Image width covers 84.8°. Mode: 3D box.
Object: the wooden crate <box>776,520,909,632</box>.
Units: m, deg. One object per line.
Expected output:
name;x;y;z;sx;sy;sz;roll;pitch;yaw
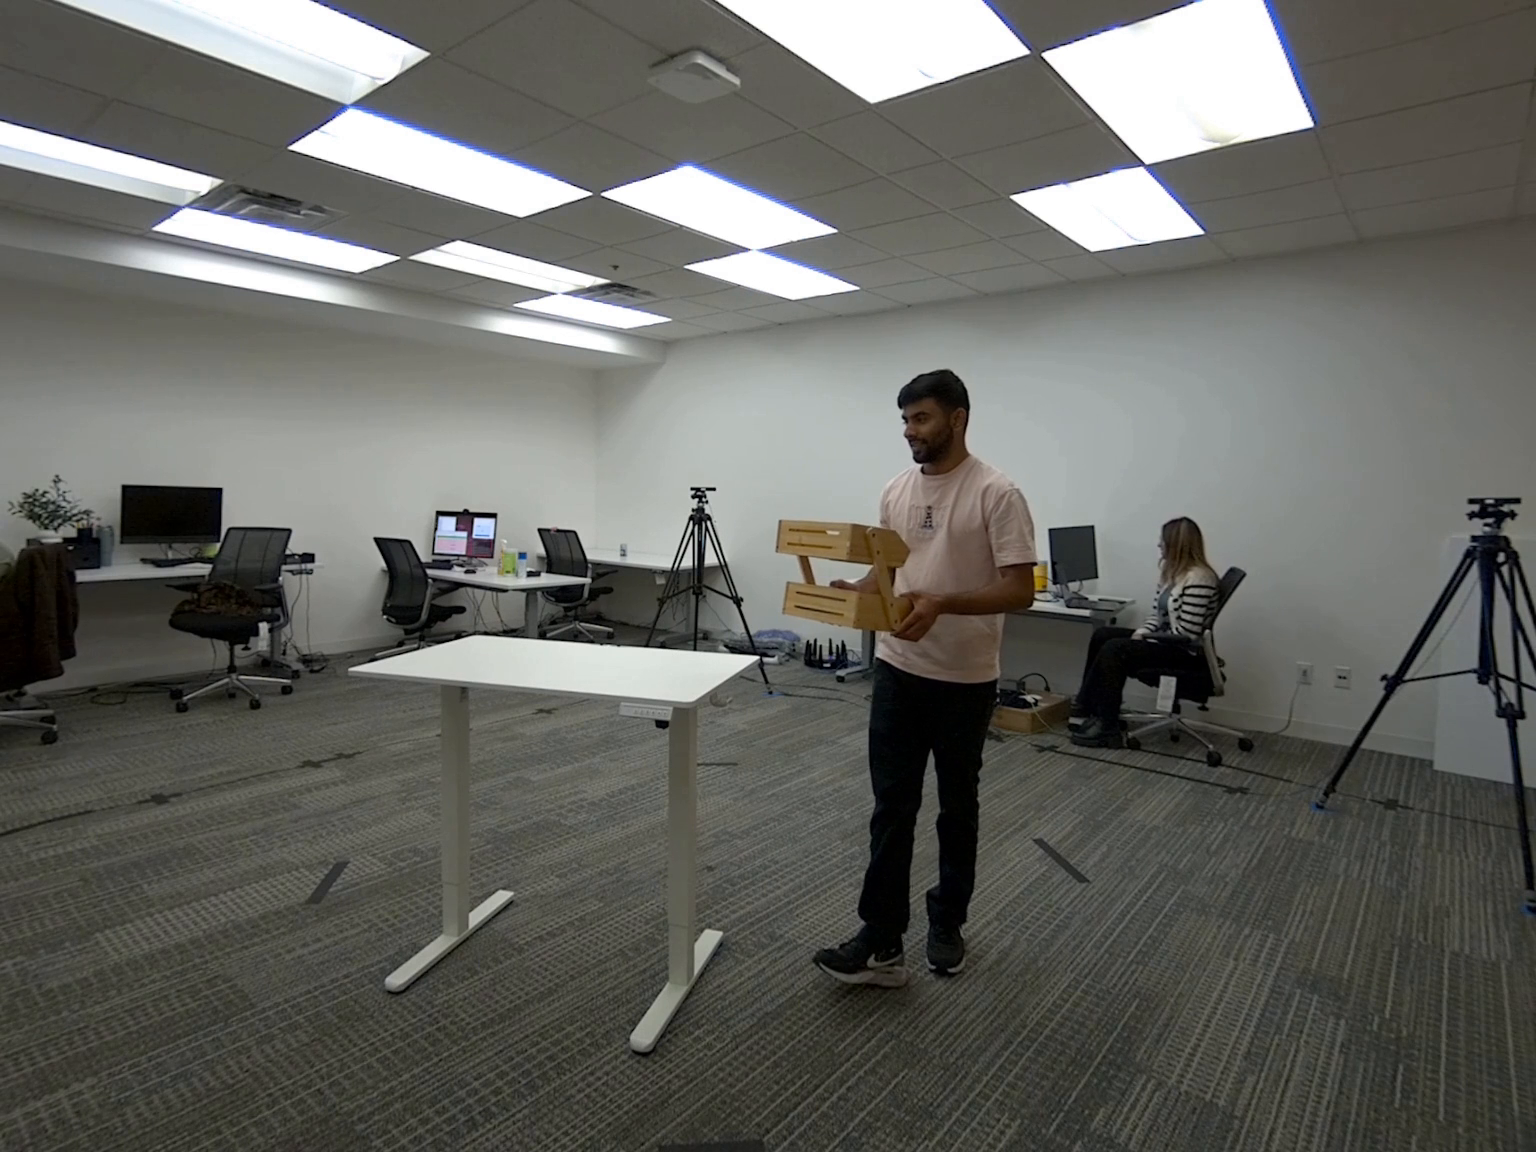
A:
wooden crate;0.216;-0.007;2.300;0.292;0.273;0.335;6;0;-35
